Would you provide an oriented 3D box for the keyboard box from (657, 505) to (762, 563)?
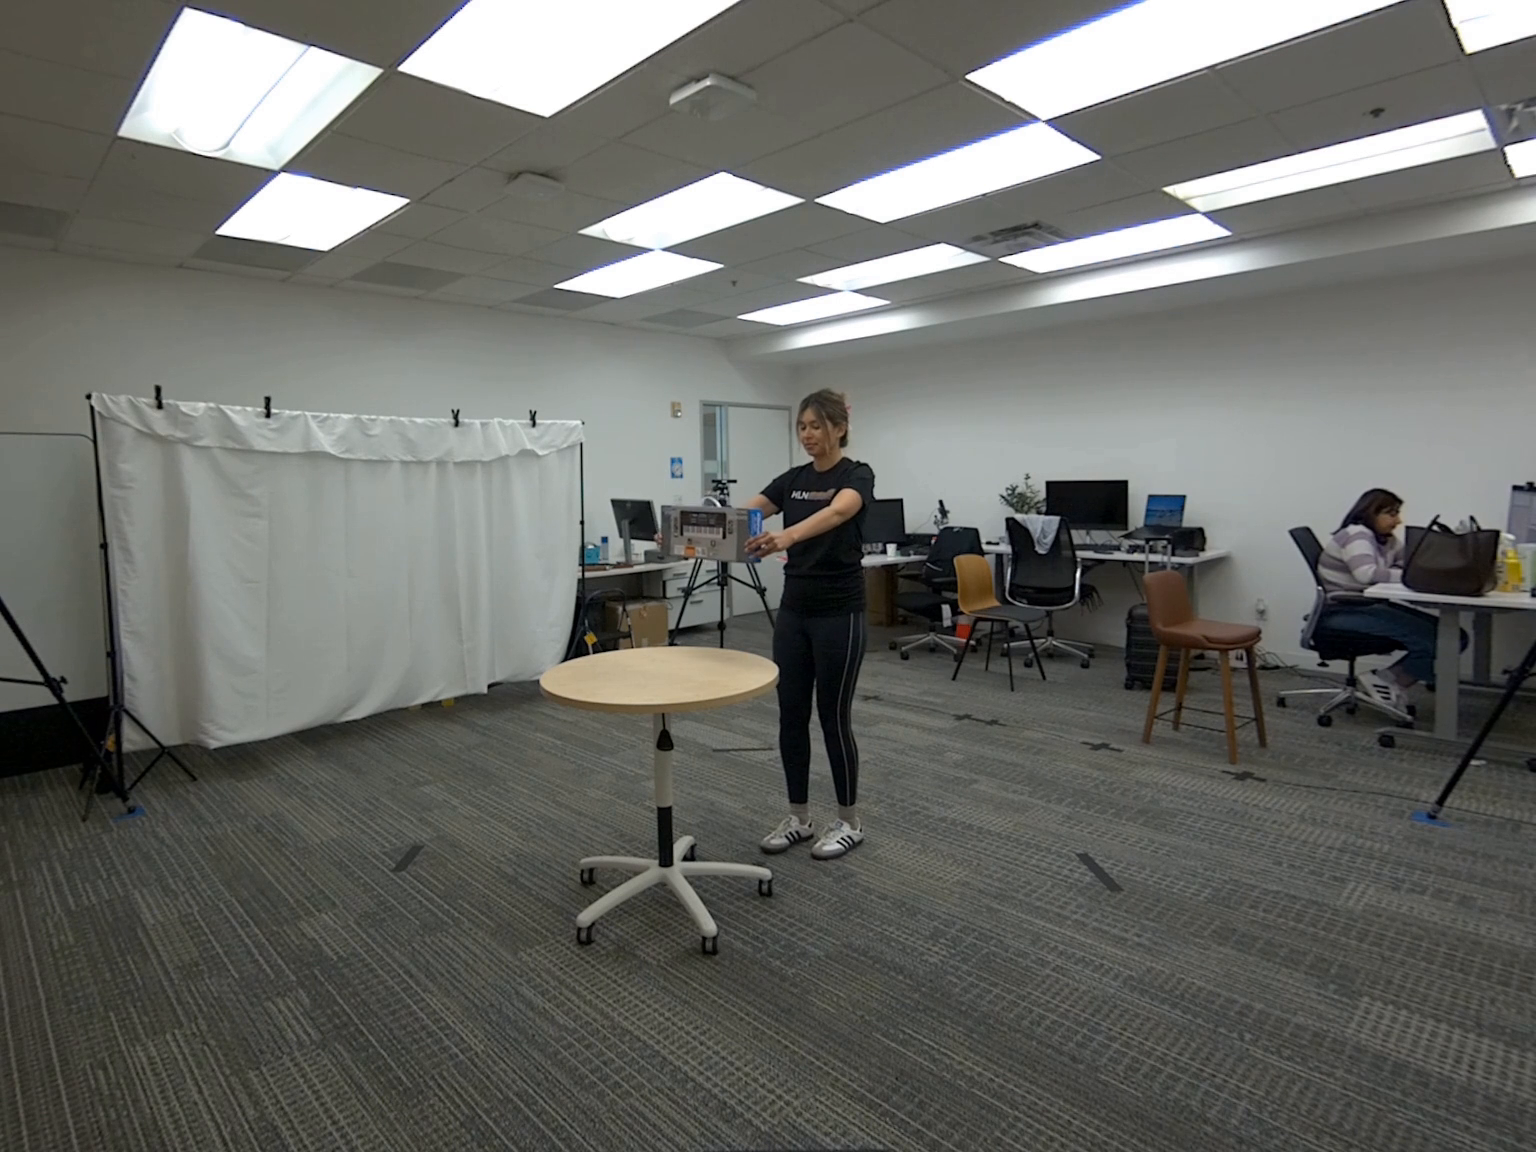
[{"bbox_3d":[-0.197,-0.141,2.827,0.057,0.175,0.451,-3,6,-44],"label":"keyboard box"}]
